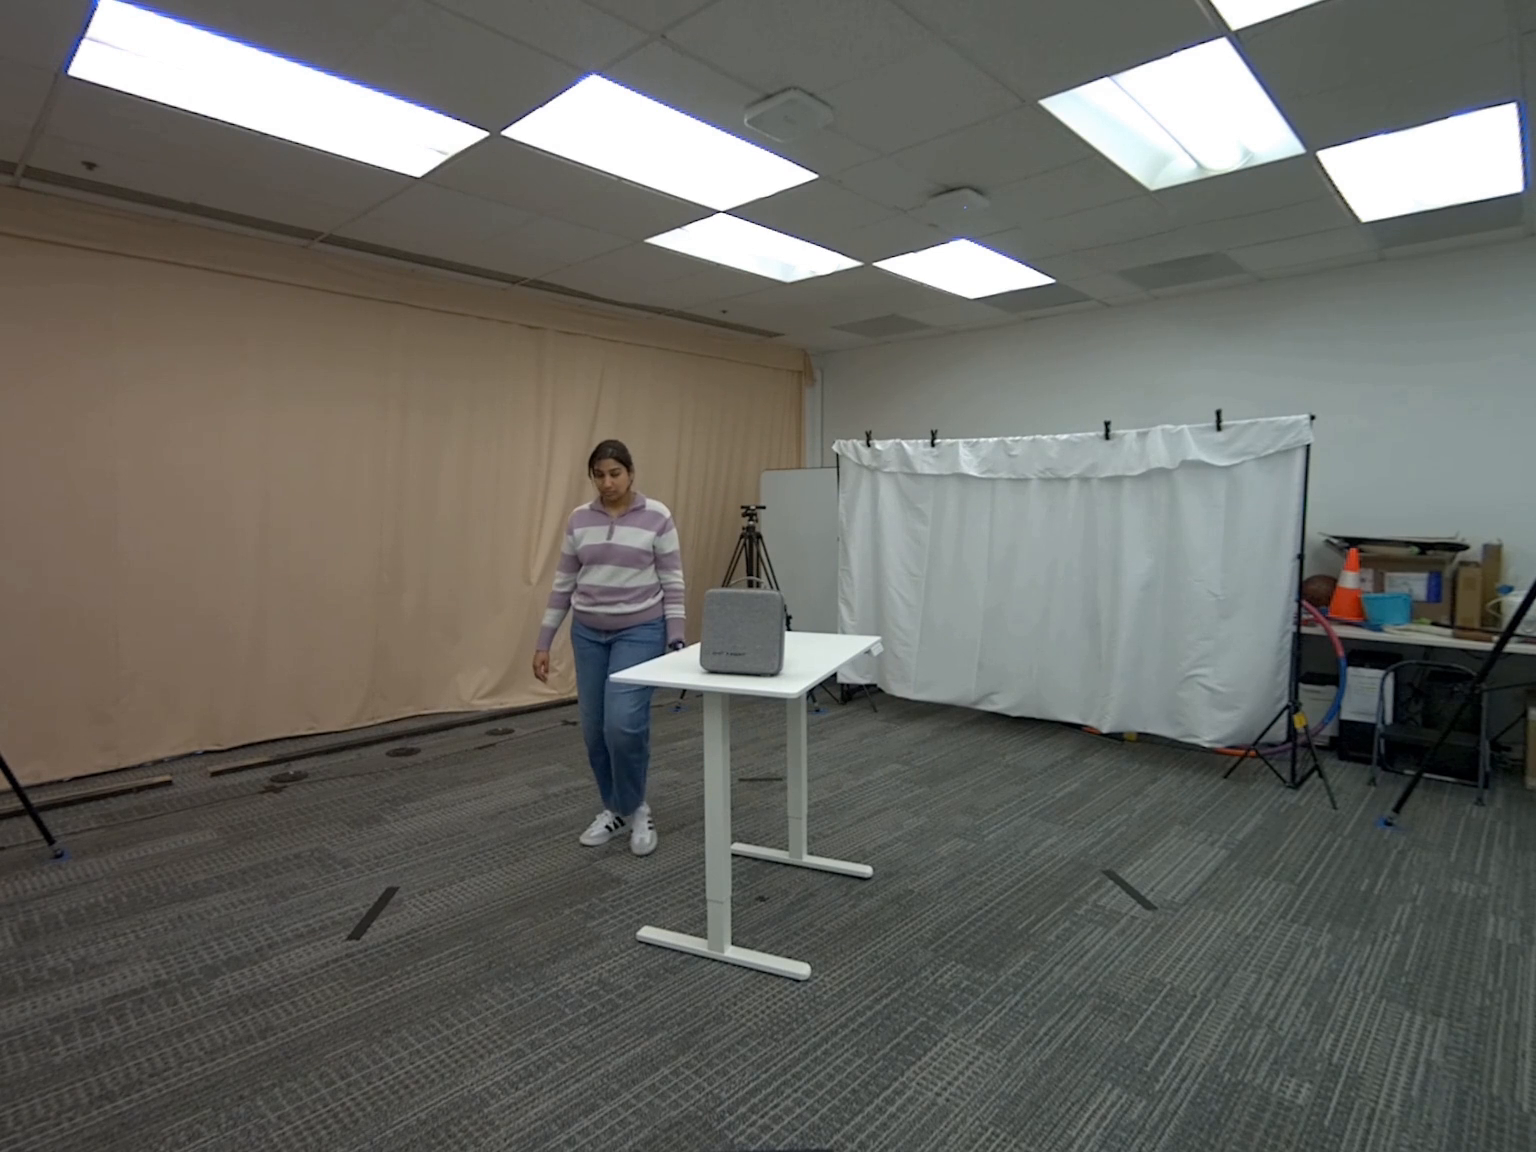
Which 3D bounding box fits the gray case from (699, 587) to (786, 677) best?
[{"bbox_3d":[-0.073,0.167,2.578,0.261,0.261,0.102,1,-7,17],"label":"gray case"}]
